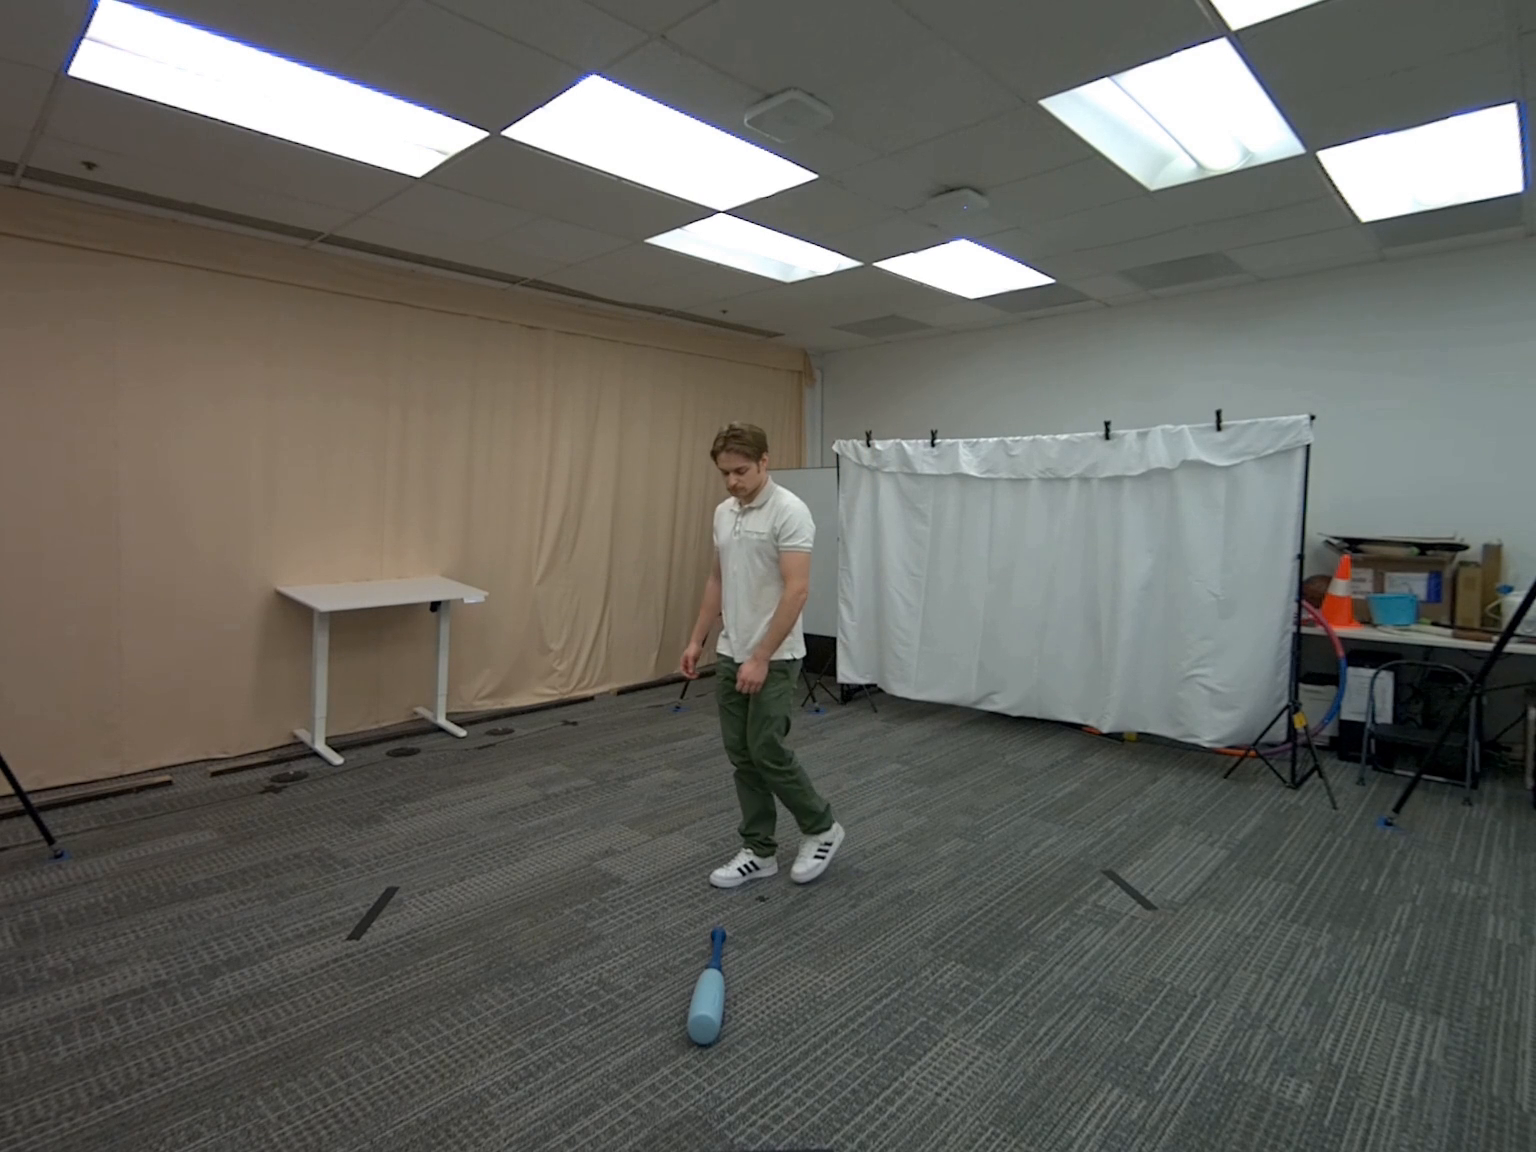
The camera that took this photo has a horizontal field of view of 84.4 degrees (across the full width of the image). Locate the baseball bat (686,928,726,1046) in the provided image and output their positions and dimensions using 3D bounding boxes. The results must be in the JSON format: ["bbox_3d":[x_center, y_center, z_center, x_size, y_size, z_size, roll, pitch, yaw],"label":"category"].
[{"bbox_3d":[-0.159,1.159,2.420,0.089,0.089,0.541,0,2,2],"label":"baseball bat"}]
